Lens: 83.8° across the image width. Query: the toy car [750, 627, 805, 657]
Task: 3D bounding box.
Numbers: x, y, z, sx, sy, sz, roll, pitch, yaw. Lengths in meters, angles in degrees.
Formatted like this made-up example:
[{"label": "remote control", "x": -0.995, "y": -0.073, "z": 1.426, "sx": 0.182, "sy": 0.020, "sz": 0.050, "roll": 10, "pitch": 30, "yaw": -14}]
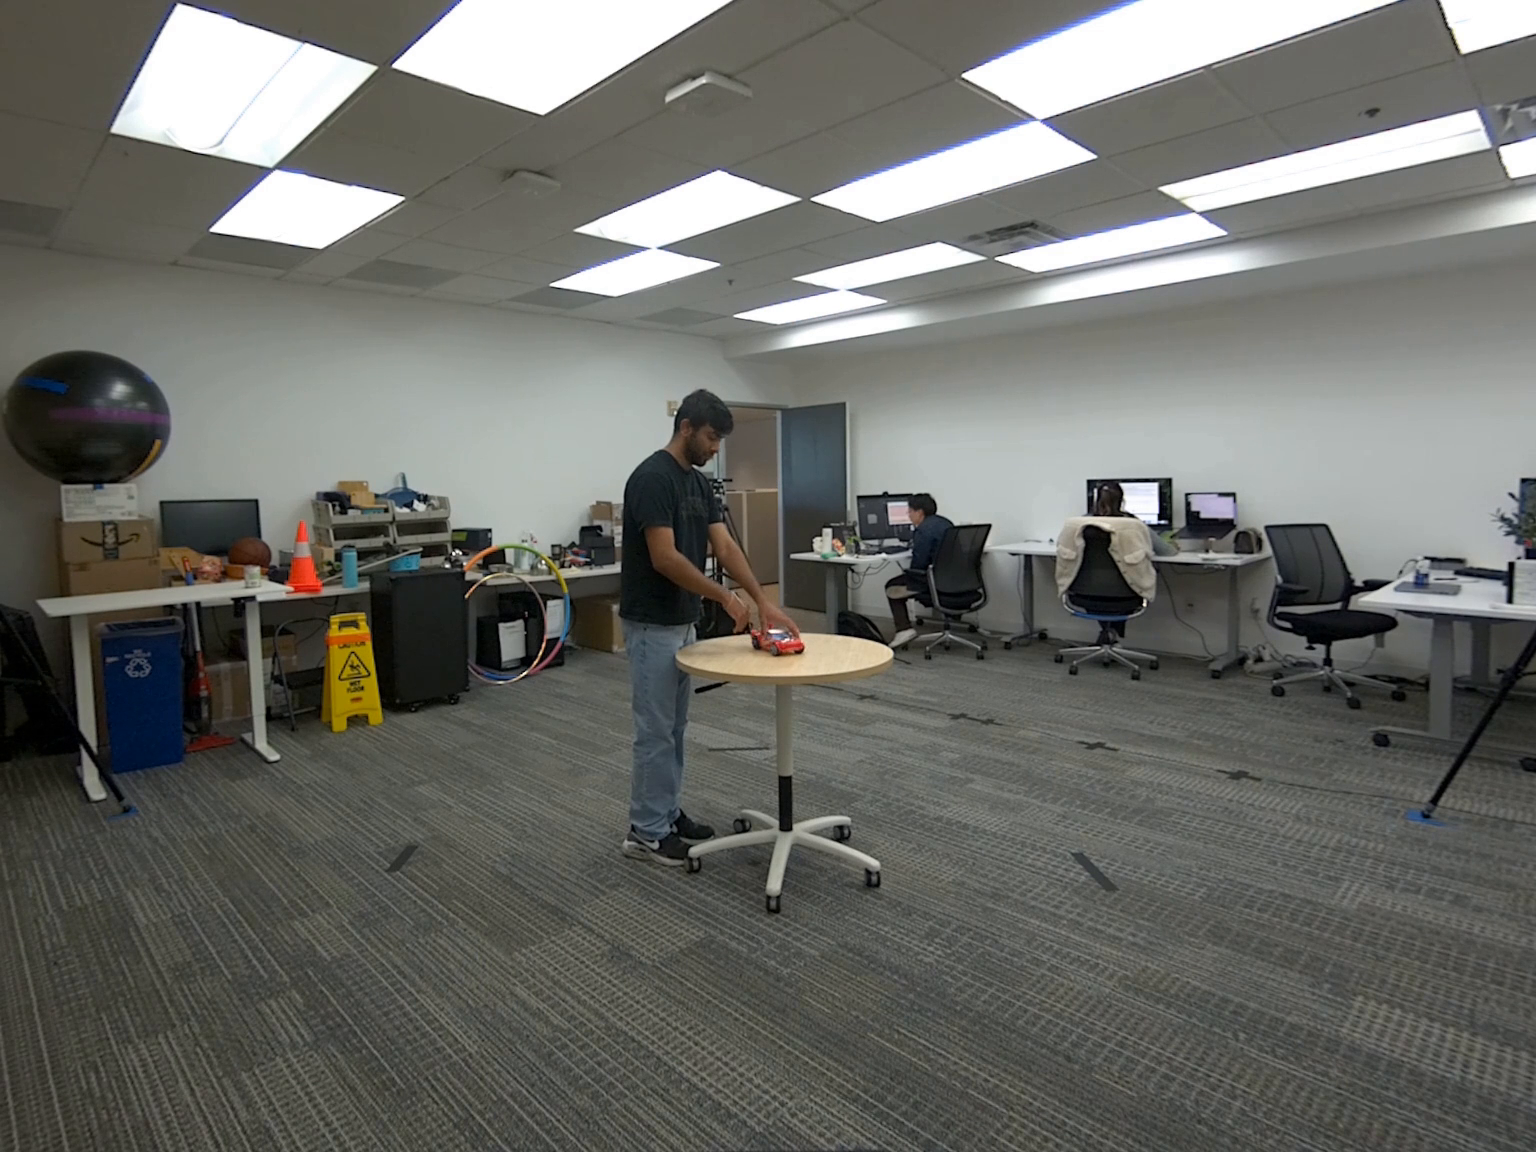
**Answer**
[{"label": "toy car", "x": 0.025, "y": 0.233, "z": 3.058, "sx": 0.127, "sy": 0.082, "sz": 0.263, "roll": -4, "pitch": 16, "yaw": -25}]
